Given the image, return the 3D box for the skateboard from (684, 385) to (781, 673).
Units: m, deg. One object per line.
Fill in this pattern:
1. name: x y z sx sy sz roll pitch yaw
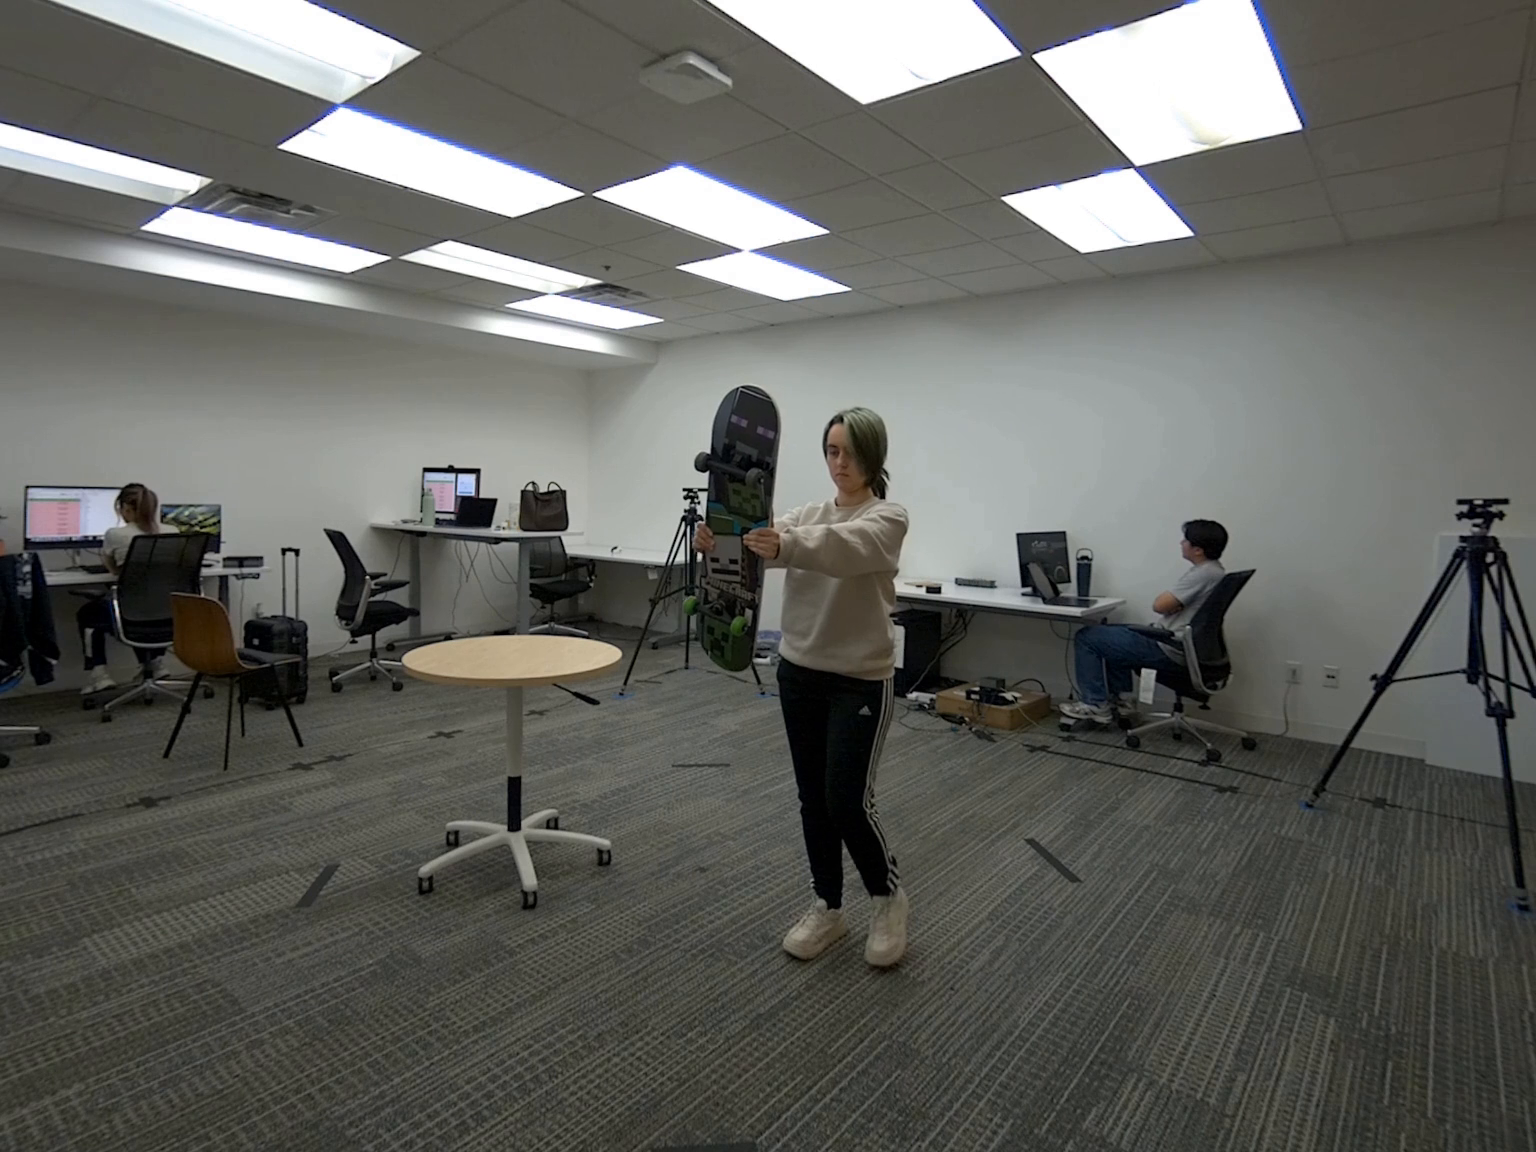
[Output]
1. skateboard: -0.104 -0.083 2.141 0.200 0.771 0.108 20 27 29
